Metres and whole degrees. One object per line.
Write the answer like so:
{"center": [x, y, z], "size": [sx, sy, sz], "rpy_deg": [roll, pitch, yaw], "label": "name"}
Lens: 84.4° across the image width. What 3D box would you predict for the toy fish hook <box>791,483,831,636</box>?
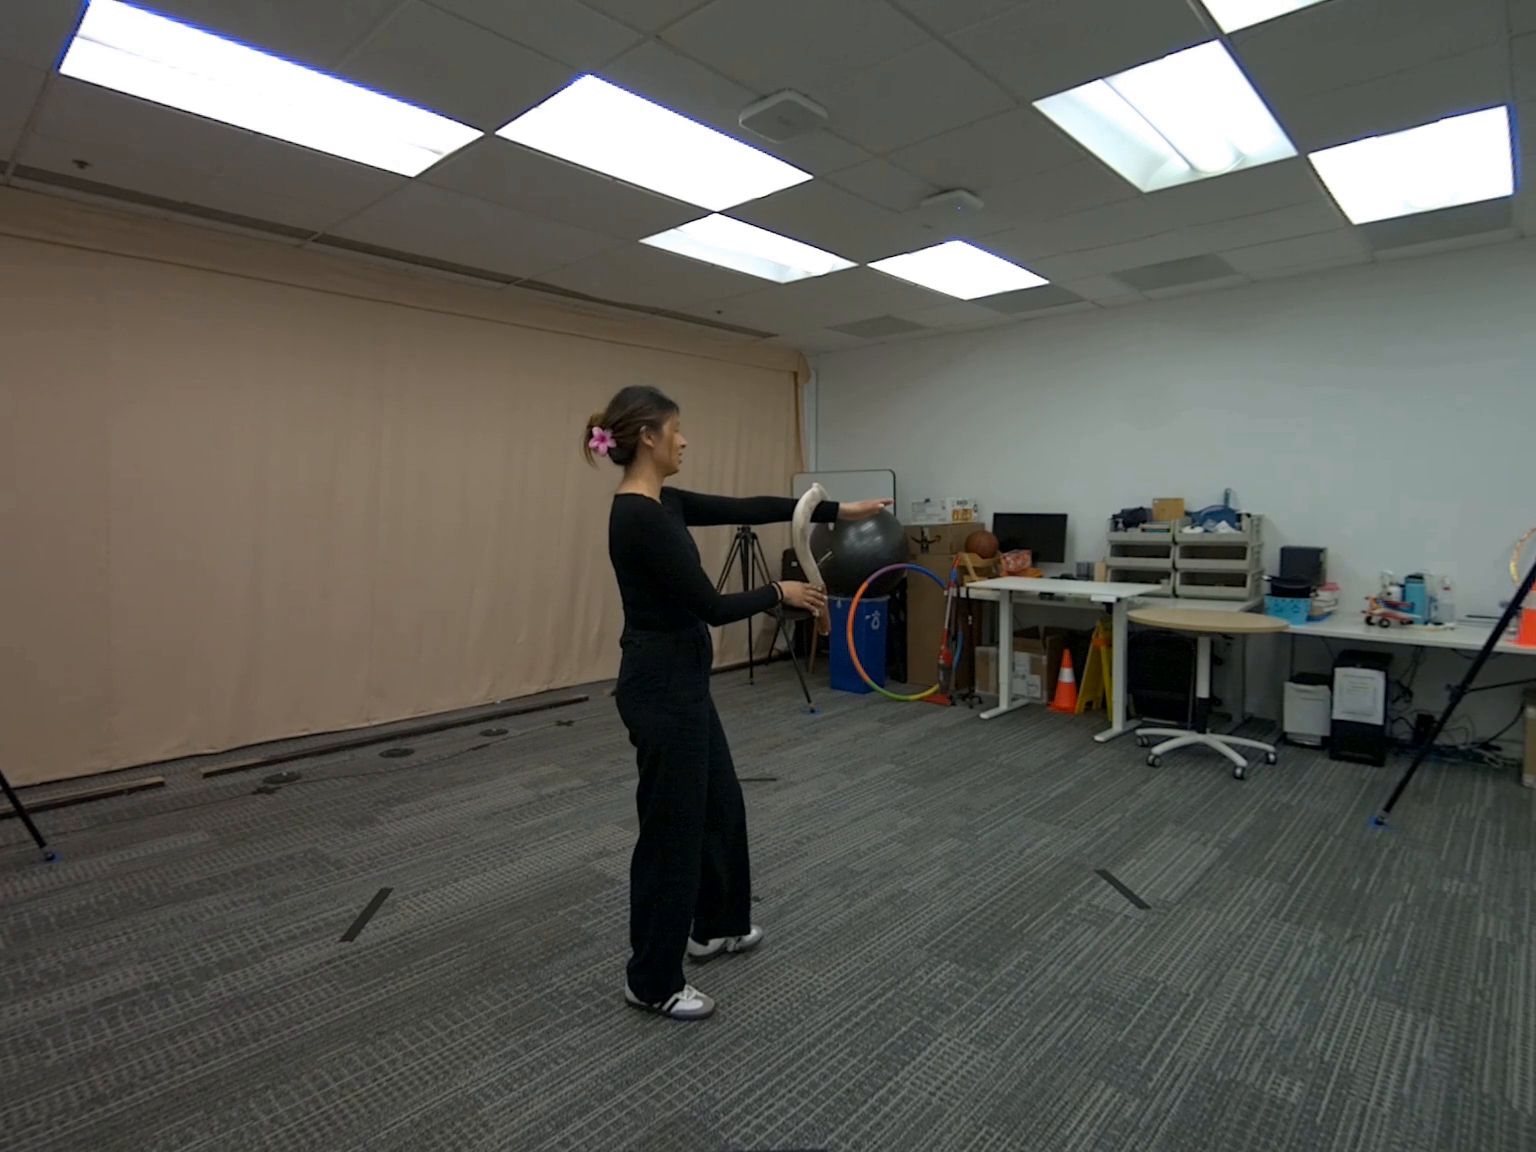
{"center": [0.176, -0.045, 2.530], "size": [0.050, 0.494, 0.222], "rpy_deg": [15, 43, 34], "label": "toy fish hook"}
